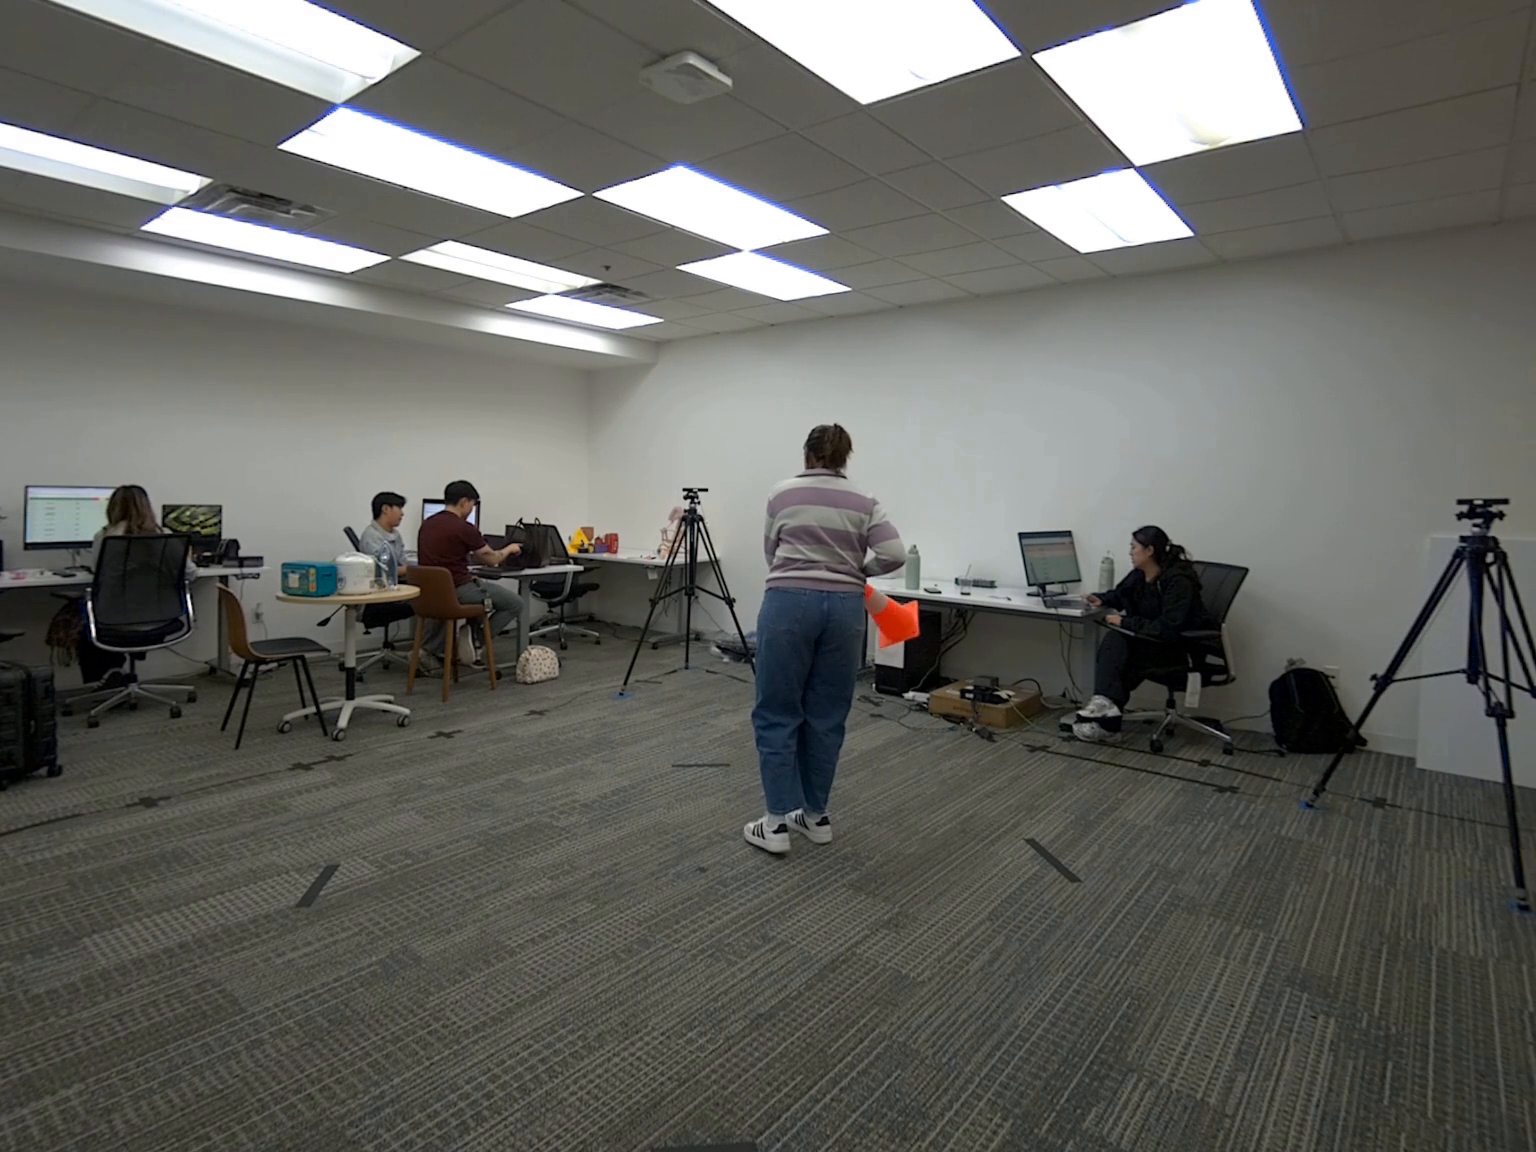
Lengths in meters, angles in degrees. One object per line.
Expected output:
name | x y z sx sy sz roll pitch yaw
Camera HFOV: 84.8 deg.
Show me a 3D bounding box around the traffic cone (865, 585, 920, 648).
traffic cone | 0.443 0.103 3.658 0.207 0.208 0.370 -30 -57 30
